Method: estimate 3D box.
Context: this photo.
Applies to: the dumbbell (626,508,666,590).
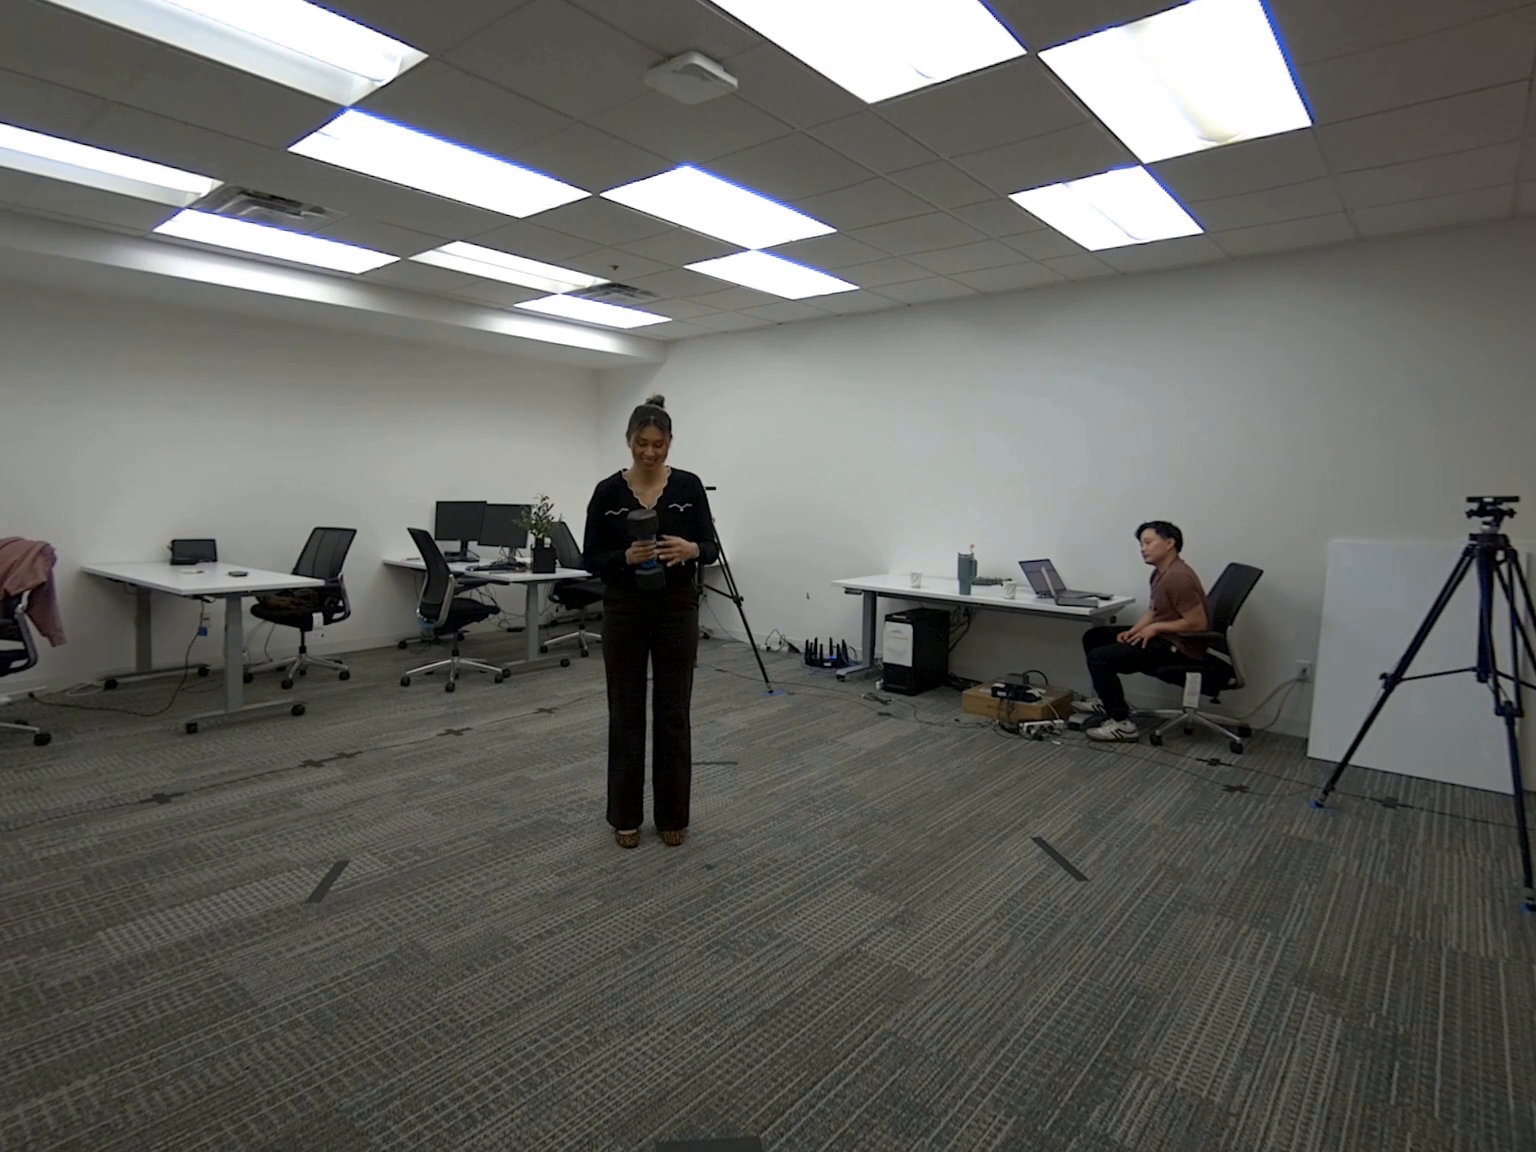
[{"bbox_3d":[-0.467,-0.098,3.160,0.120,0.289,0.112,-13,17,-26],"label":"dumbbell"}]
